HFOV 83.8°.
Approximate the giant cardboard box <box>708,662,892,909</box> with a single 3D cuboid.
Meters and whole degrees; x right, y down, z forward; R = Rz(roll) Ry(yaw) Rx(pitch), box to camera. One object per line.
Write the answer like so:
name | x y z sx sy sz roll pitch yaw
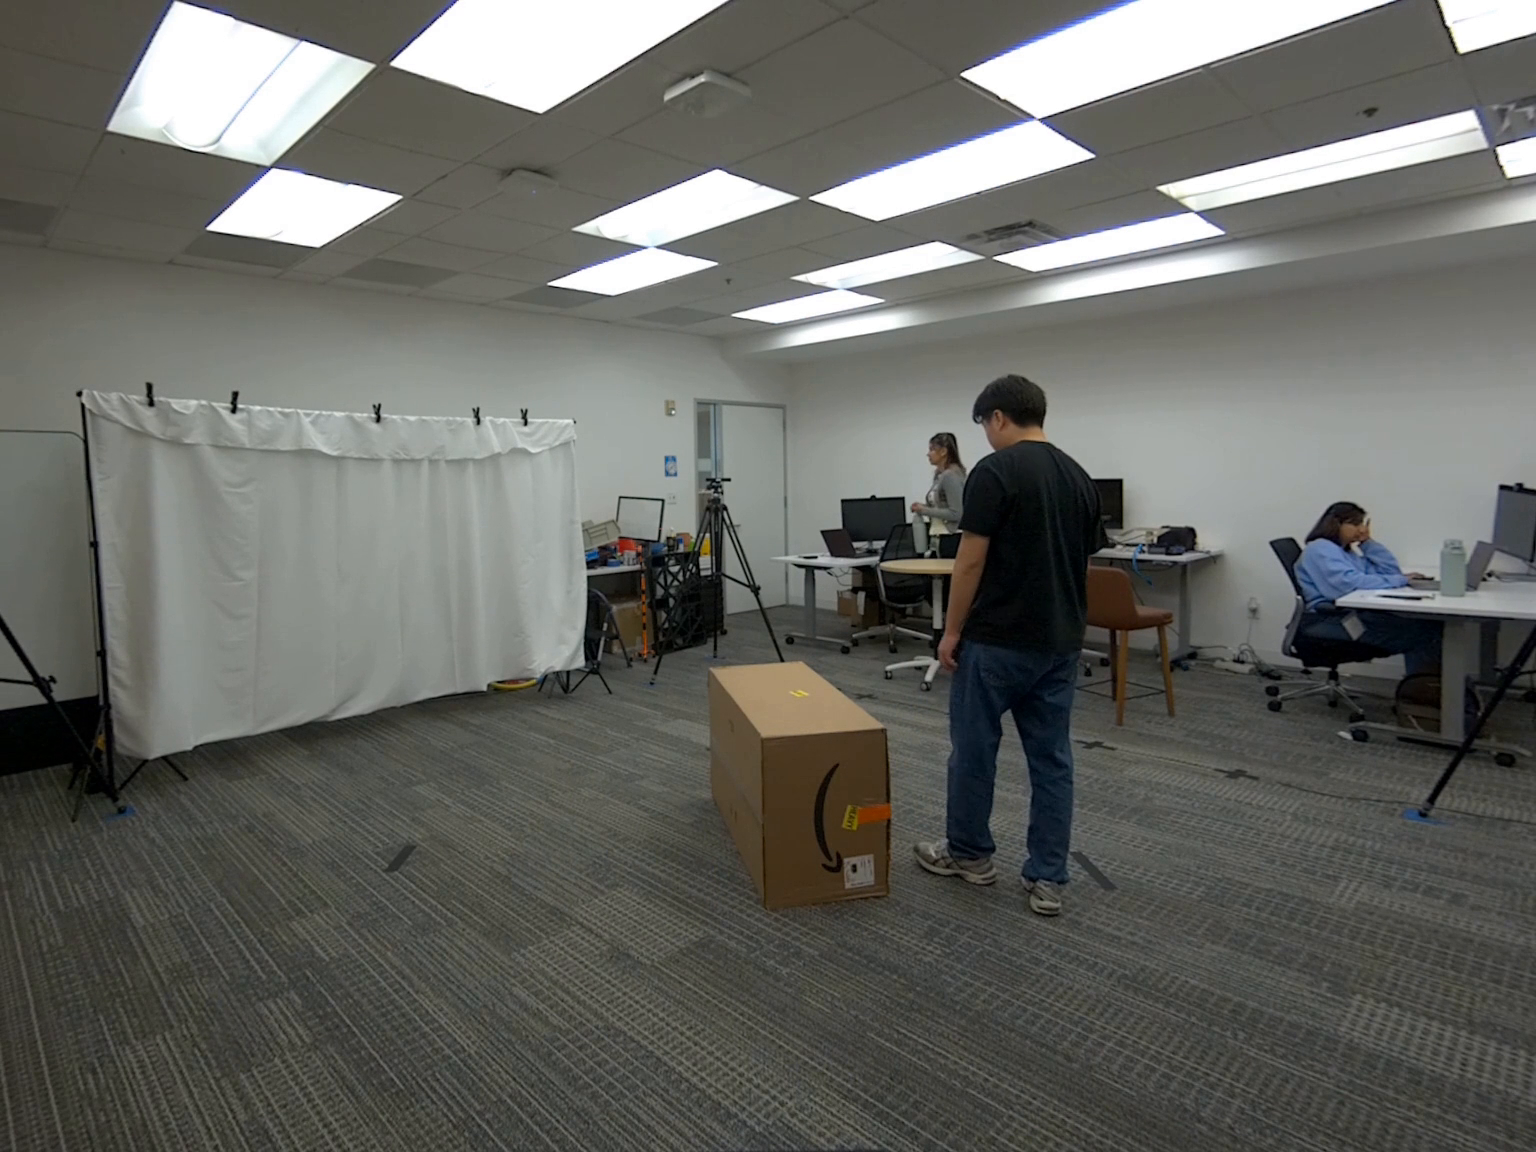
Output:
giant cardboard box | 0.074 0.731 3.285 0.441 0.581 1.044 -1 6 -14
